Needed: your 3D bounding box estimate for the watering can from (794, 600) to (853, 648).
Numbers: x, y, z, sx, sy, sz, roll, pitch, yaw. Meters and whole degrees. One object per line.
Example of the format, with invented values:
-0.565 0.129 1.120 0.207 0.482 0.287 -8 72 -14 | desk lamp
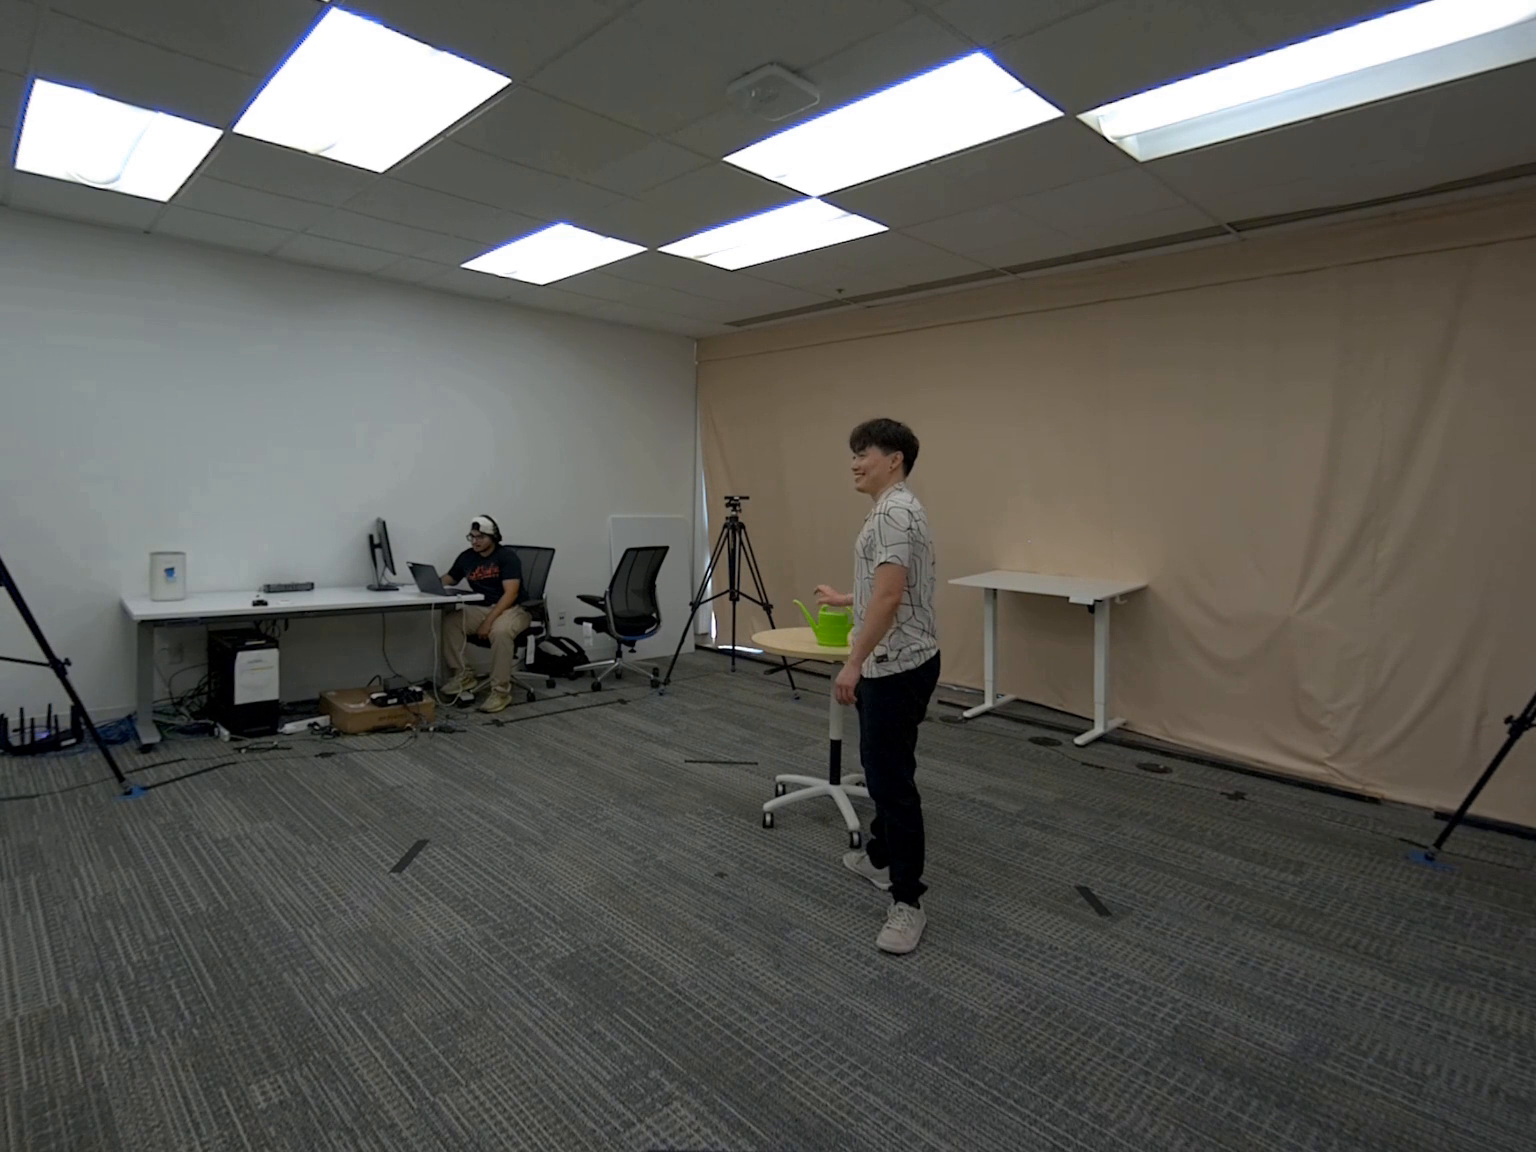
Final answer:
0.237 0.203 3.583 0.285 0.176 0.096 7 6 38 | watering can
